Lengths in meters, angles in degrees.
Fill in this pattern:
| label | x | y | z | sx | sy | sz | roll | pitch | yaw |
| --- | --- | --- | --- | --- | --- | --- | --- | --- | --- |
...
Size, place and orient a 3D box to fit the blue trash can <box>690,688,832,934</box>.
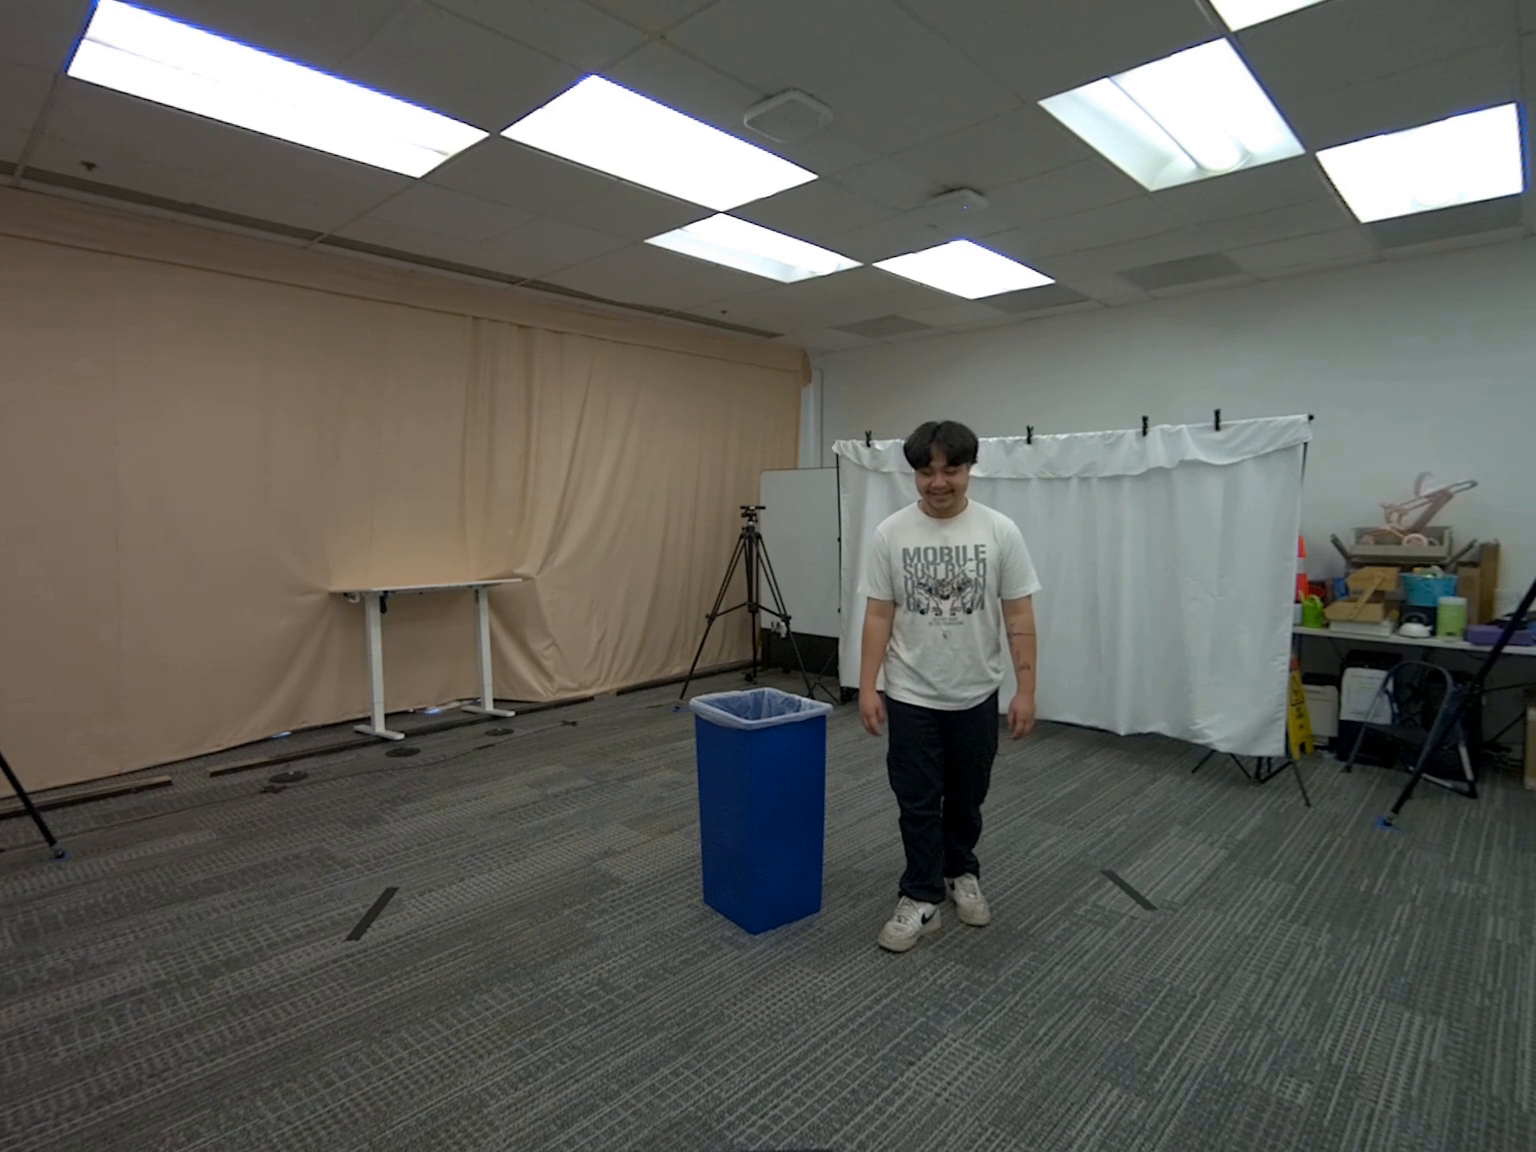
| label | x | y | z | sx | sy | sz | roll | pitch | yaw |
| --- | --- | --- | --- | --- | --- | --- | --- | --- | --- |
| blue trash can | -0.025 | 0.793 | 2.908 | 0.363 | 0.712 | 0.390 | -2 | 3 | -38 |
